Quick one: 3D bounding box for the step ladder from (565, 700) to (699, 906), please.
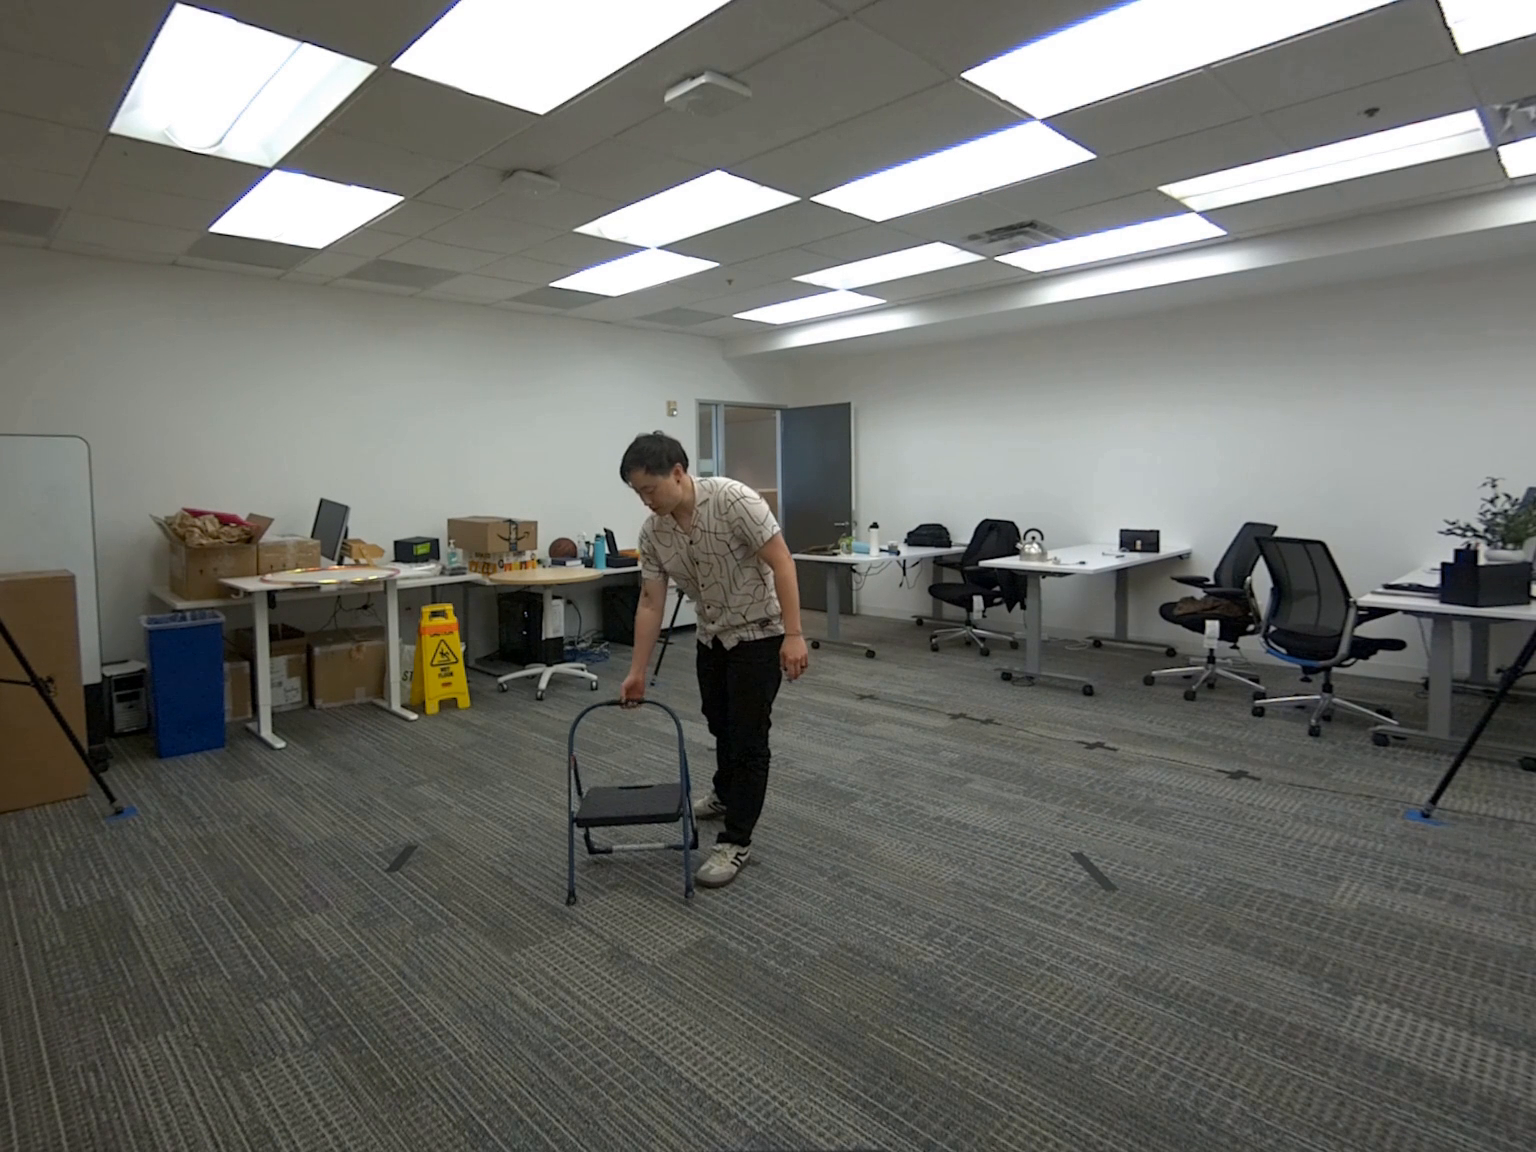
[{"bbox_3d":[-0.487,0.736,2.953,0.431,0.601,0.352,-4,8,0],"label":"step ladder"}]
